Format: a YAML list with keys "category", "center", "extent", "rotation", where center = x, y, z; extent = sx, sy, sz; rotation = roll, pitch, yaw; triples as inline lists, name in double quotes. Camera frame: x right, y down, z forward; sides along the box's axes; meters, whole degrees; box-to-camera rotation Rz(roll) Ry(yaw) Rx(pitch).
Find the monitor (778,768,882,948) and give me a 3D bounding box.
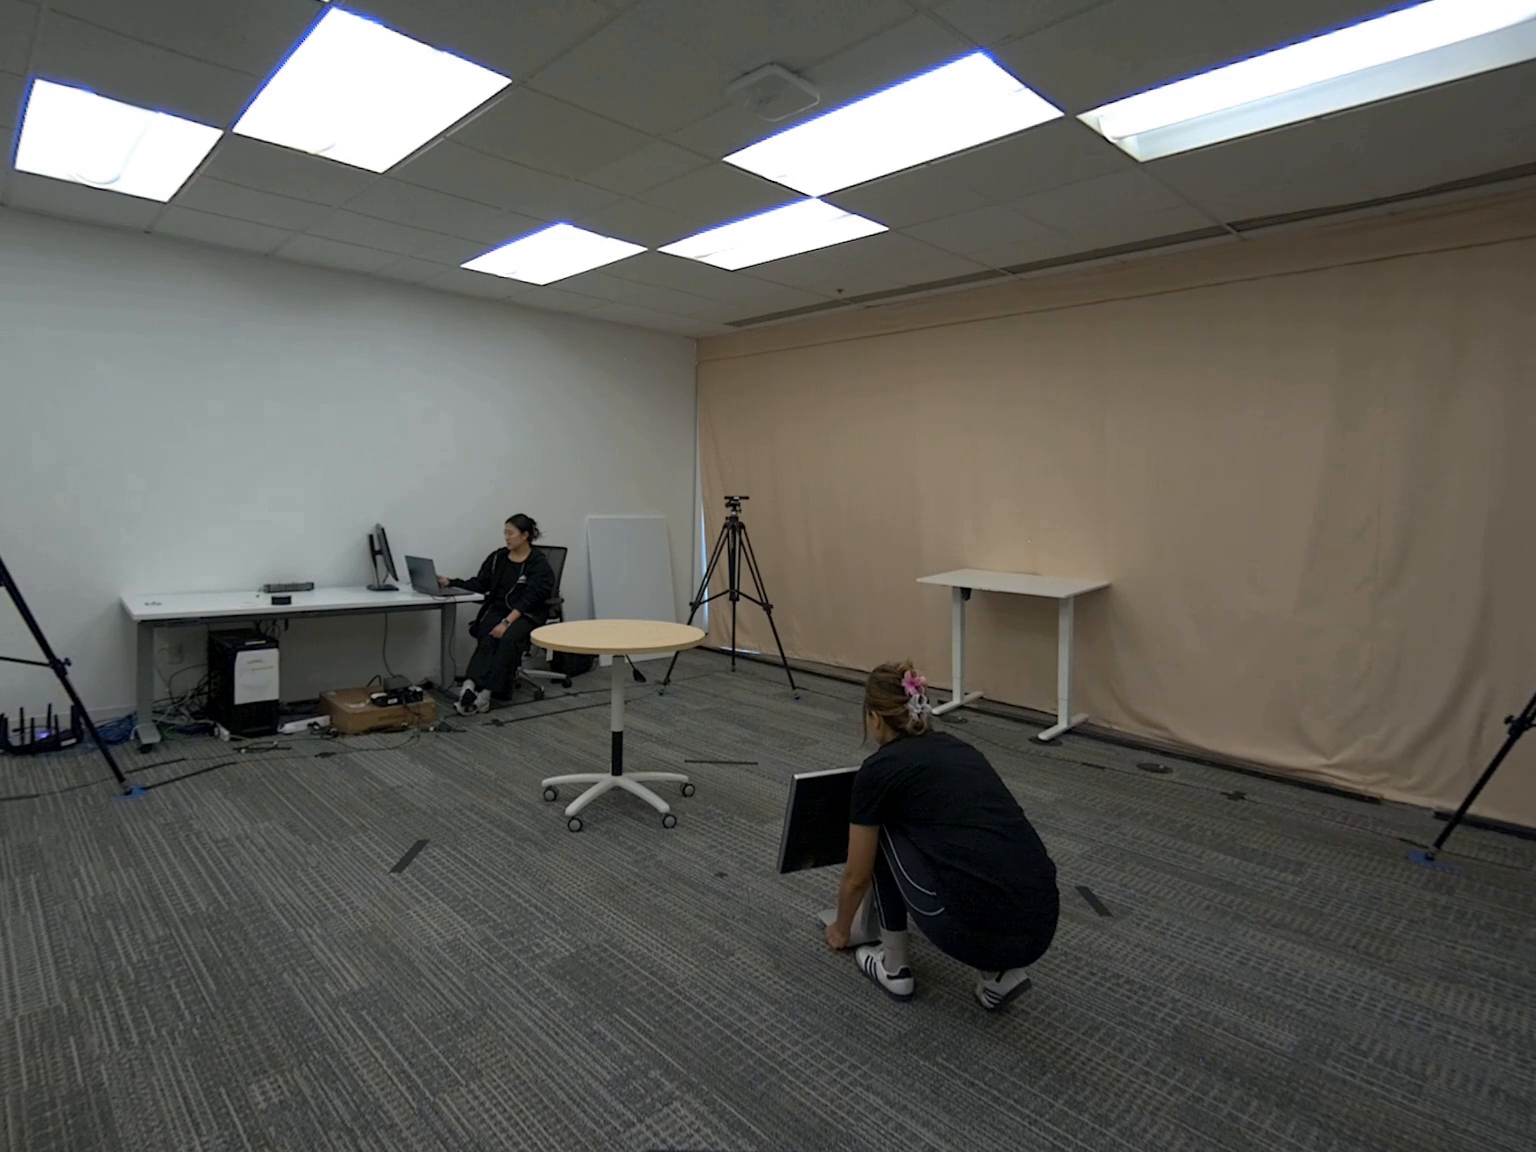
- category: "monitor"
  center: [0.318, 0.860, 2.682]
  extent: [0.529, 0.519, 0.191]
  rotation: [-2, 9, -26]
